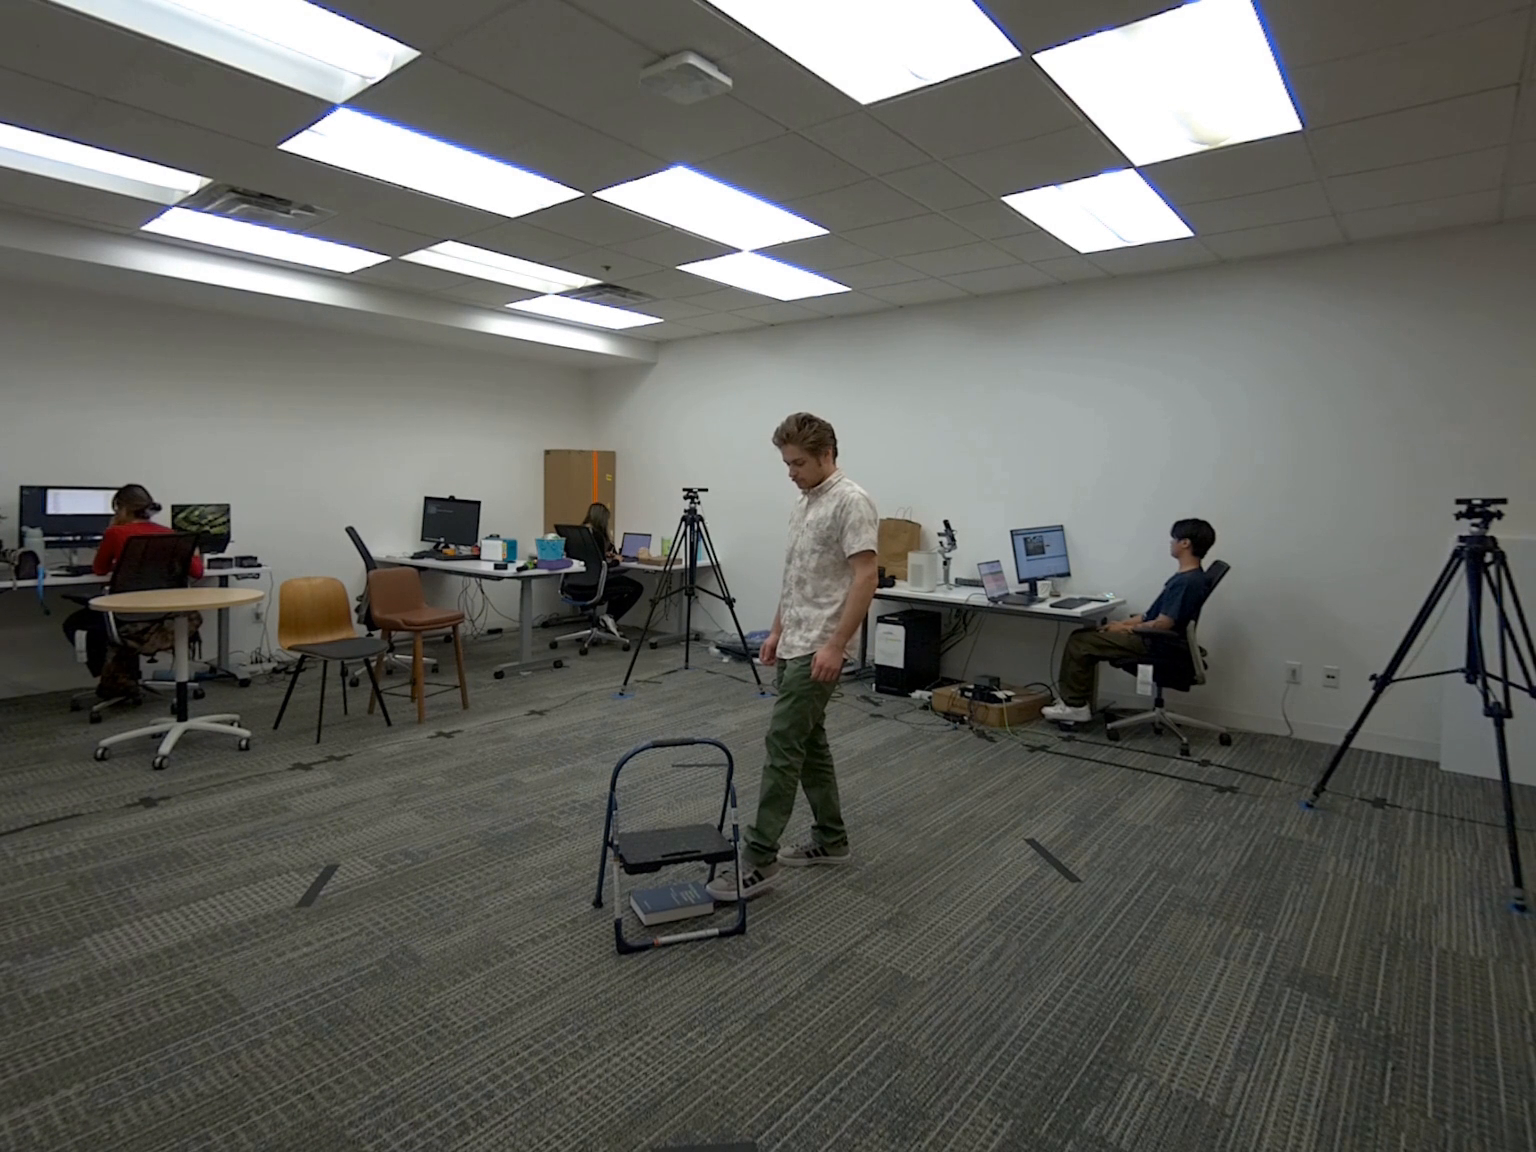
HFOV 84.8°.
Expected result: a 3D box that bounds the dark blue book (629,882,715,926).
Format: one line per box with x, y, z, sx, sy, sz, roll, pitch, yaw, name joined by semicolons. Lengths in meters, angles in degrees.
-0.322;1.074;2.796;0.239;0.045;0.168;1;5;-26;dark blue book
